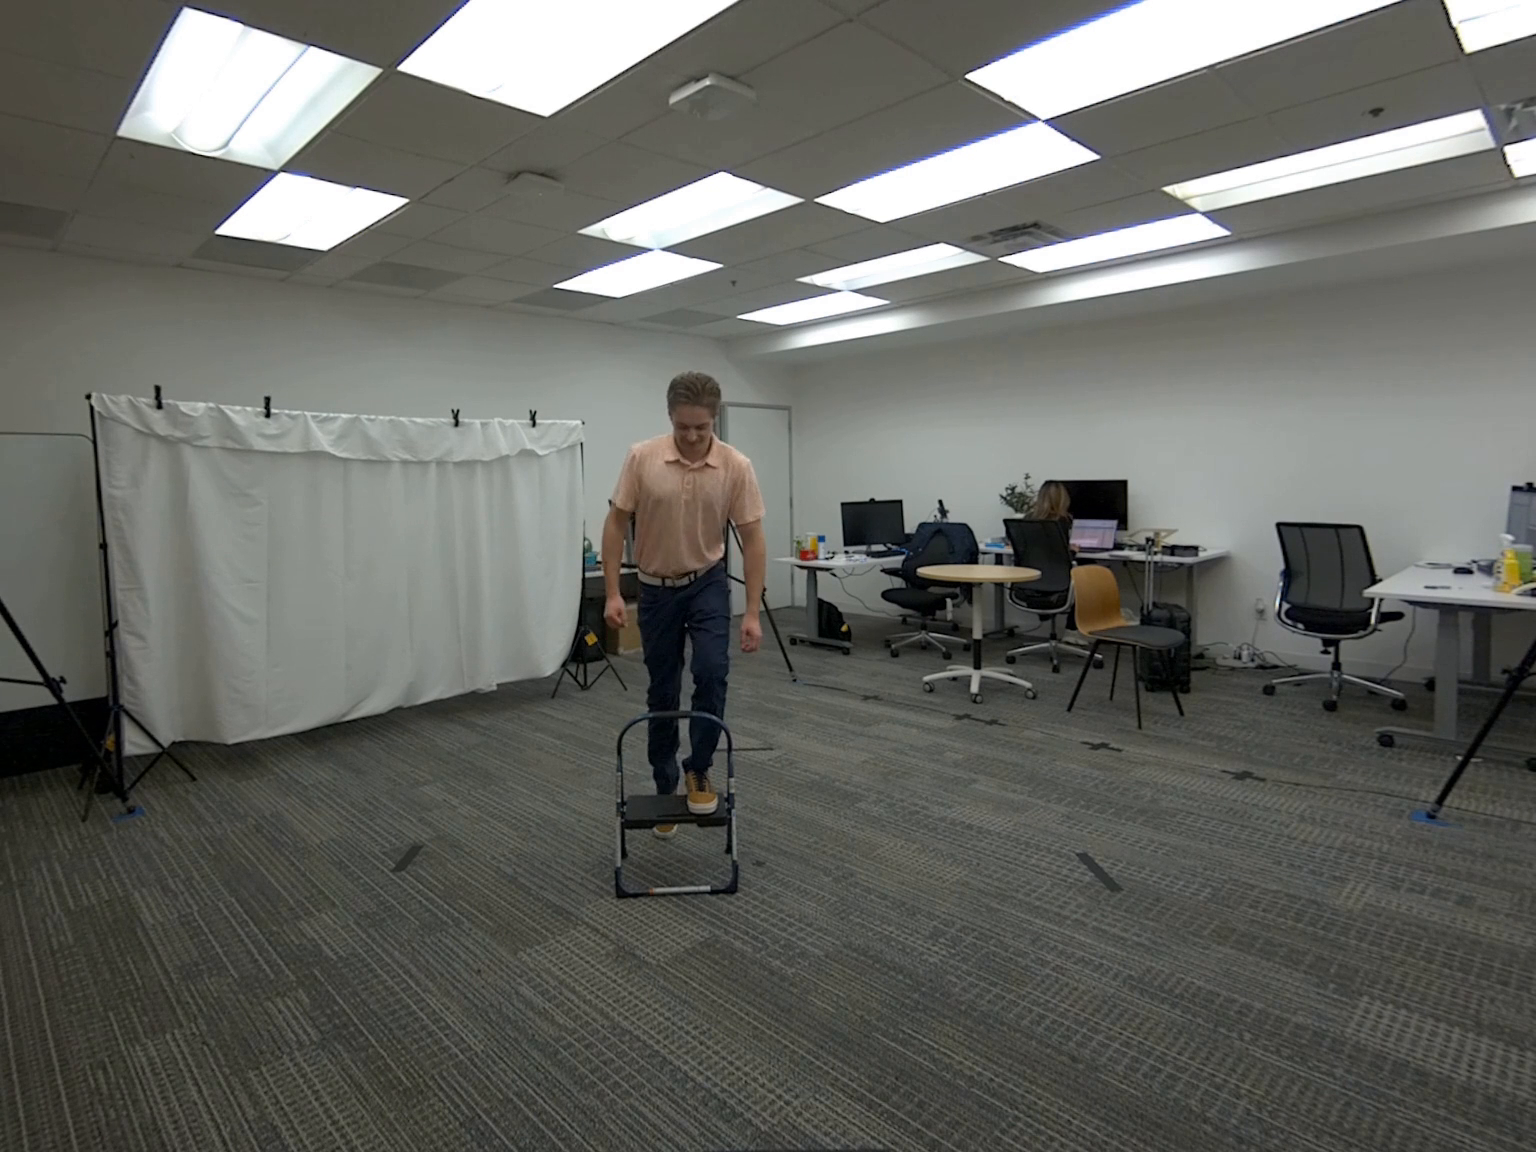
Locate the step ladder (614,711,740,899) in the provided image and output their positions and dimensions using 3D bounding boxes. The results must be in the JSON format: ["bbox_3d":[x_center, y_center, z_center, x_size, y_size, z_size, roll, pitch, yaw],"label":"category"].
[{"bbox_3d":[-0.329,0.762,3.026,0.429,0.604,0.352,-2,4,-5],"label":"step ladder"}]
